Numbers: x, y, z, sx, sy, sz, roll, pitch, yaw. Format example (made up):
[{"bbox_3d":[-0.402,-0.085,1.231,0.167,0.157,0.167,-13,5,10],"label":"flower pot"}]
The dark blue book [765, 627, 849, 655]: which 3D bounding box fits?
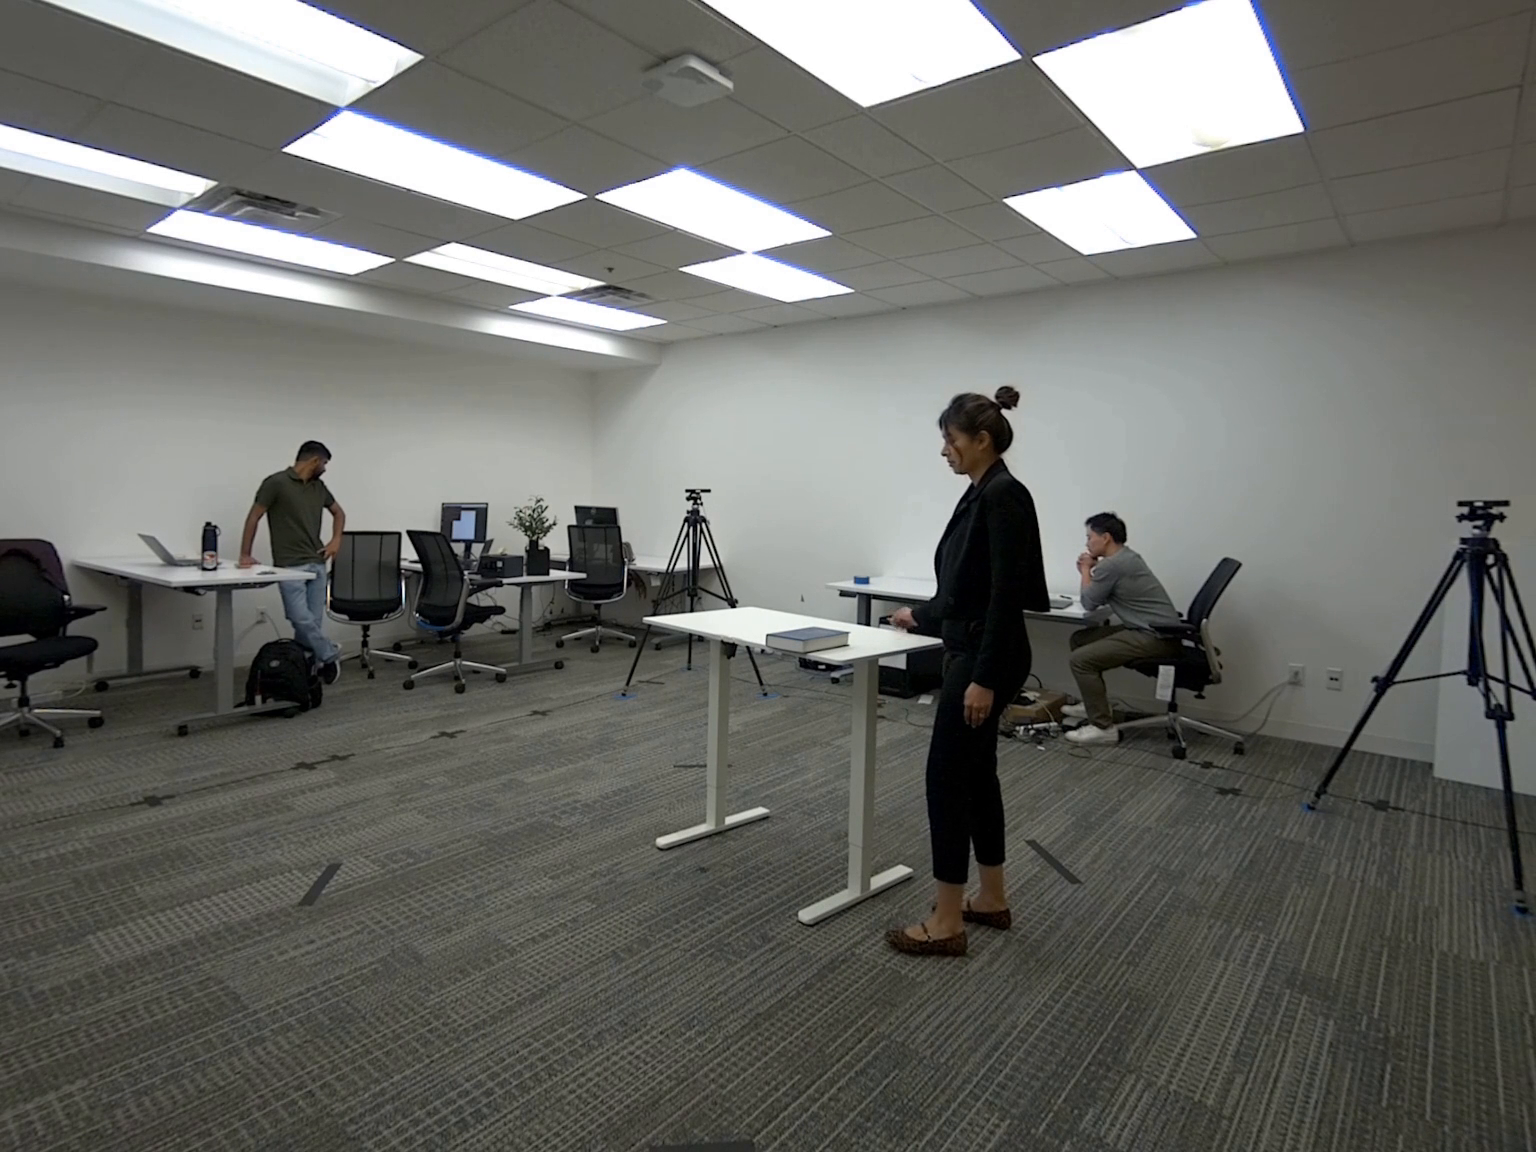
[{"bbox_3d":[0.127,0.206,2.817,0.238,0.045,0.169,-6,9,-43],"label":"dark blue book"}]
